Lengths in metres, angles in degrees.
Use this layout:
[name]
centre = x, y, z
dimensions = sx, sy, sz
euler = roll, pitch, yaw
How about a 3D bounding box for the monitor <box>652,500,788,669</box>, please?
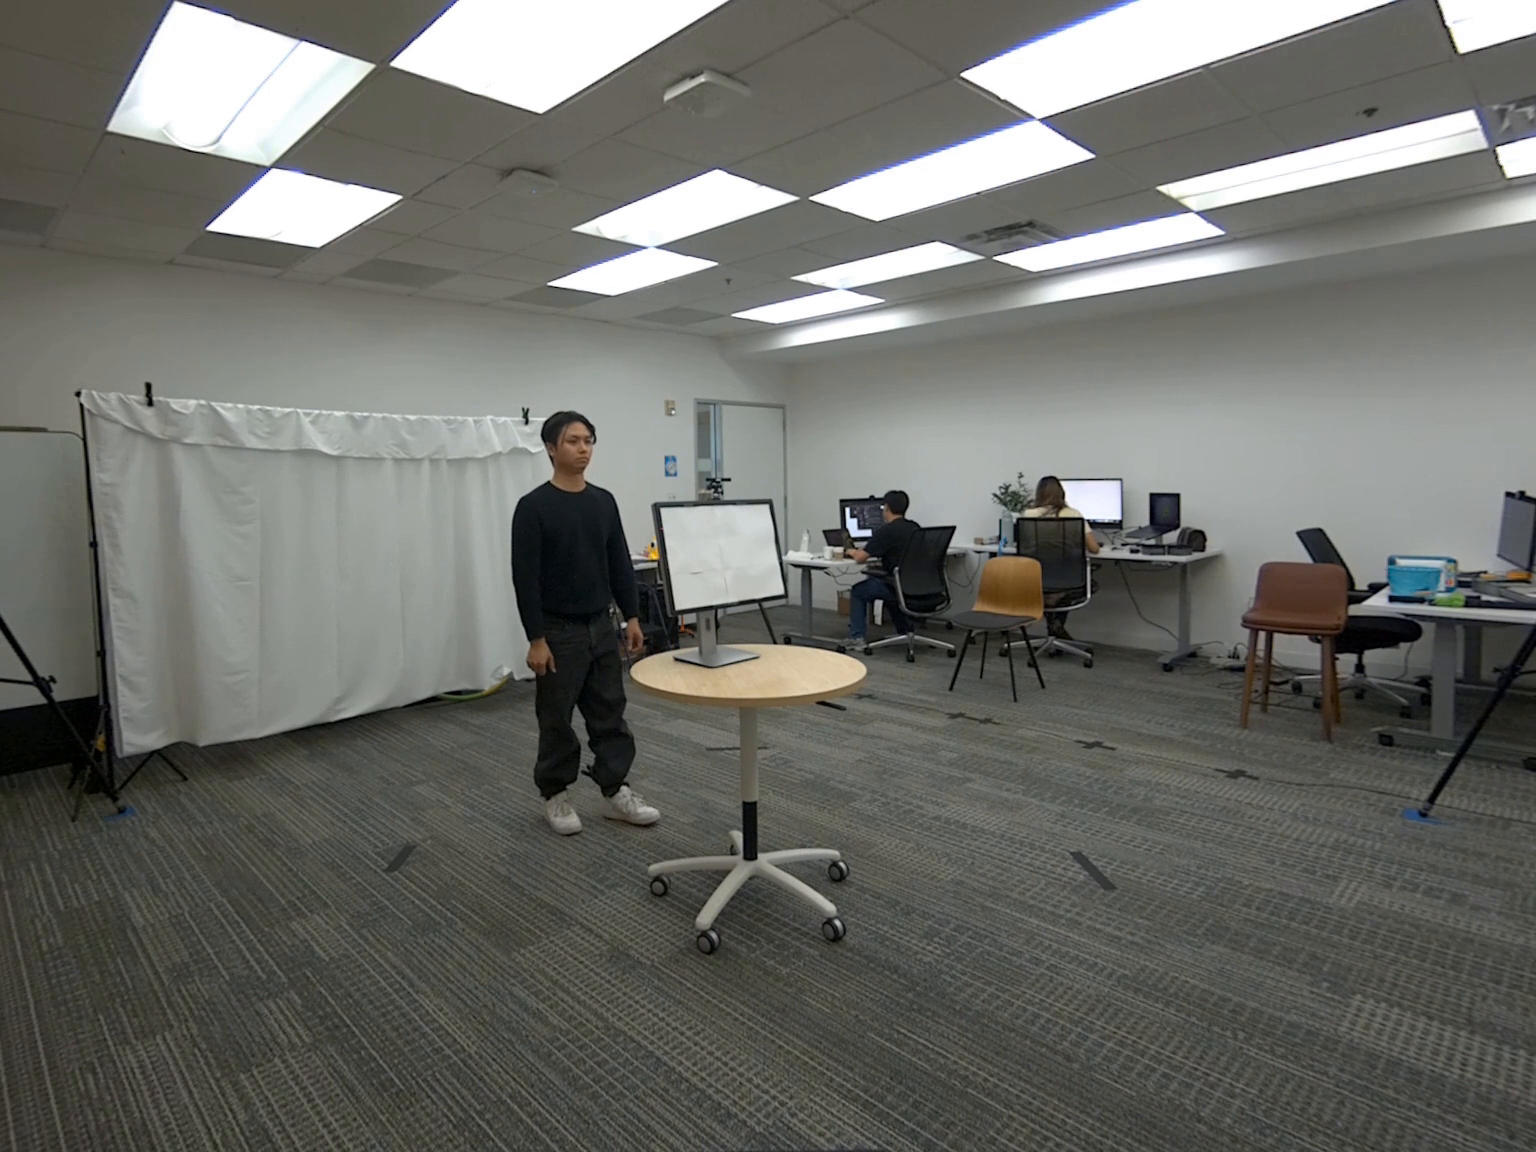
[monitor]
centre = -0.173, 0.017, 2.916
dimensions = 0.193, 0.520, 0.525
euler = 4, 7, 40
